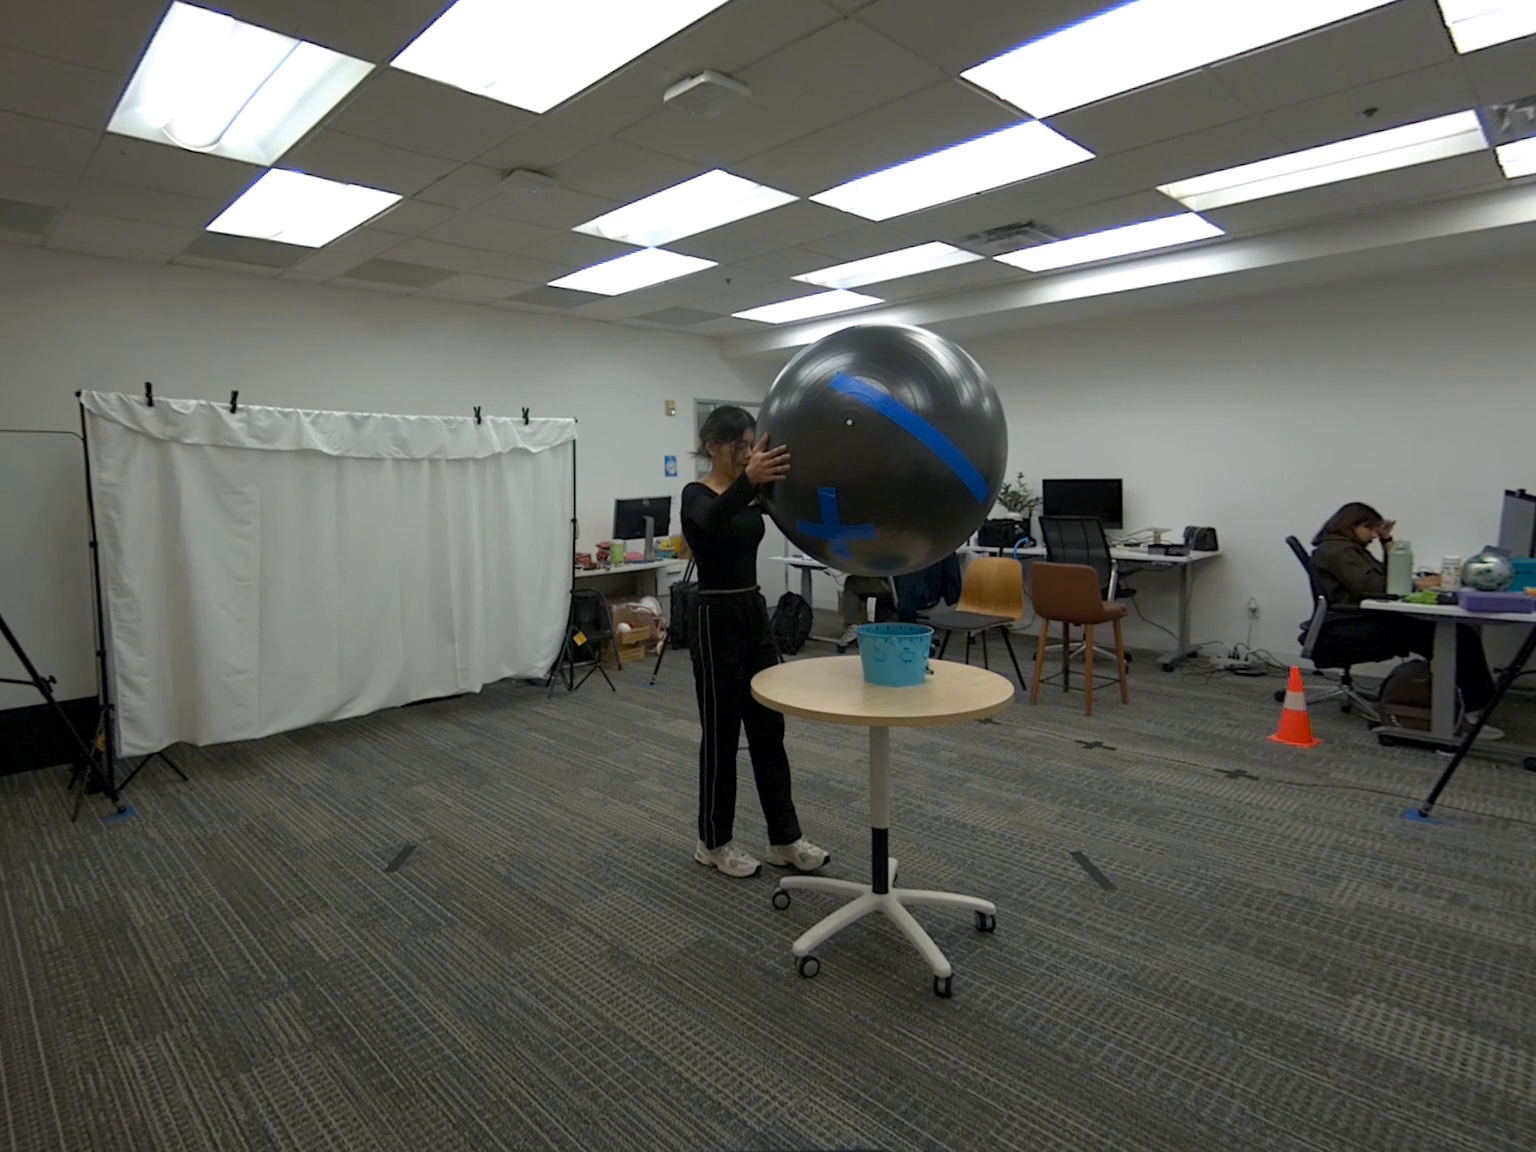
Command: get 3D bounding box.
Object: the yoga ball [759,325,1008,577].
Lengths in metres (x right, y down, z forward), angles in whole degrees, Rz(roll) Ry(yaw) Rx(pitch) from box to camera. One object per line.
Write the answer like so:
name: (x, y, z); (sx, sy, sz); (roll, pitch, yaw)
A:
yoga ball: (0.337, -0.371, 2.578); (0.757, 0.755, 0.762); (-1, 5, -2)
